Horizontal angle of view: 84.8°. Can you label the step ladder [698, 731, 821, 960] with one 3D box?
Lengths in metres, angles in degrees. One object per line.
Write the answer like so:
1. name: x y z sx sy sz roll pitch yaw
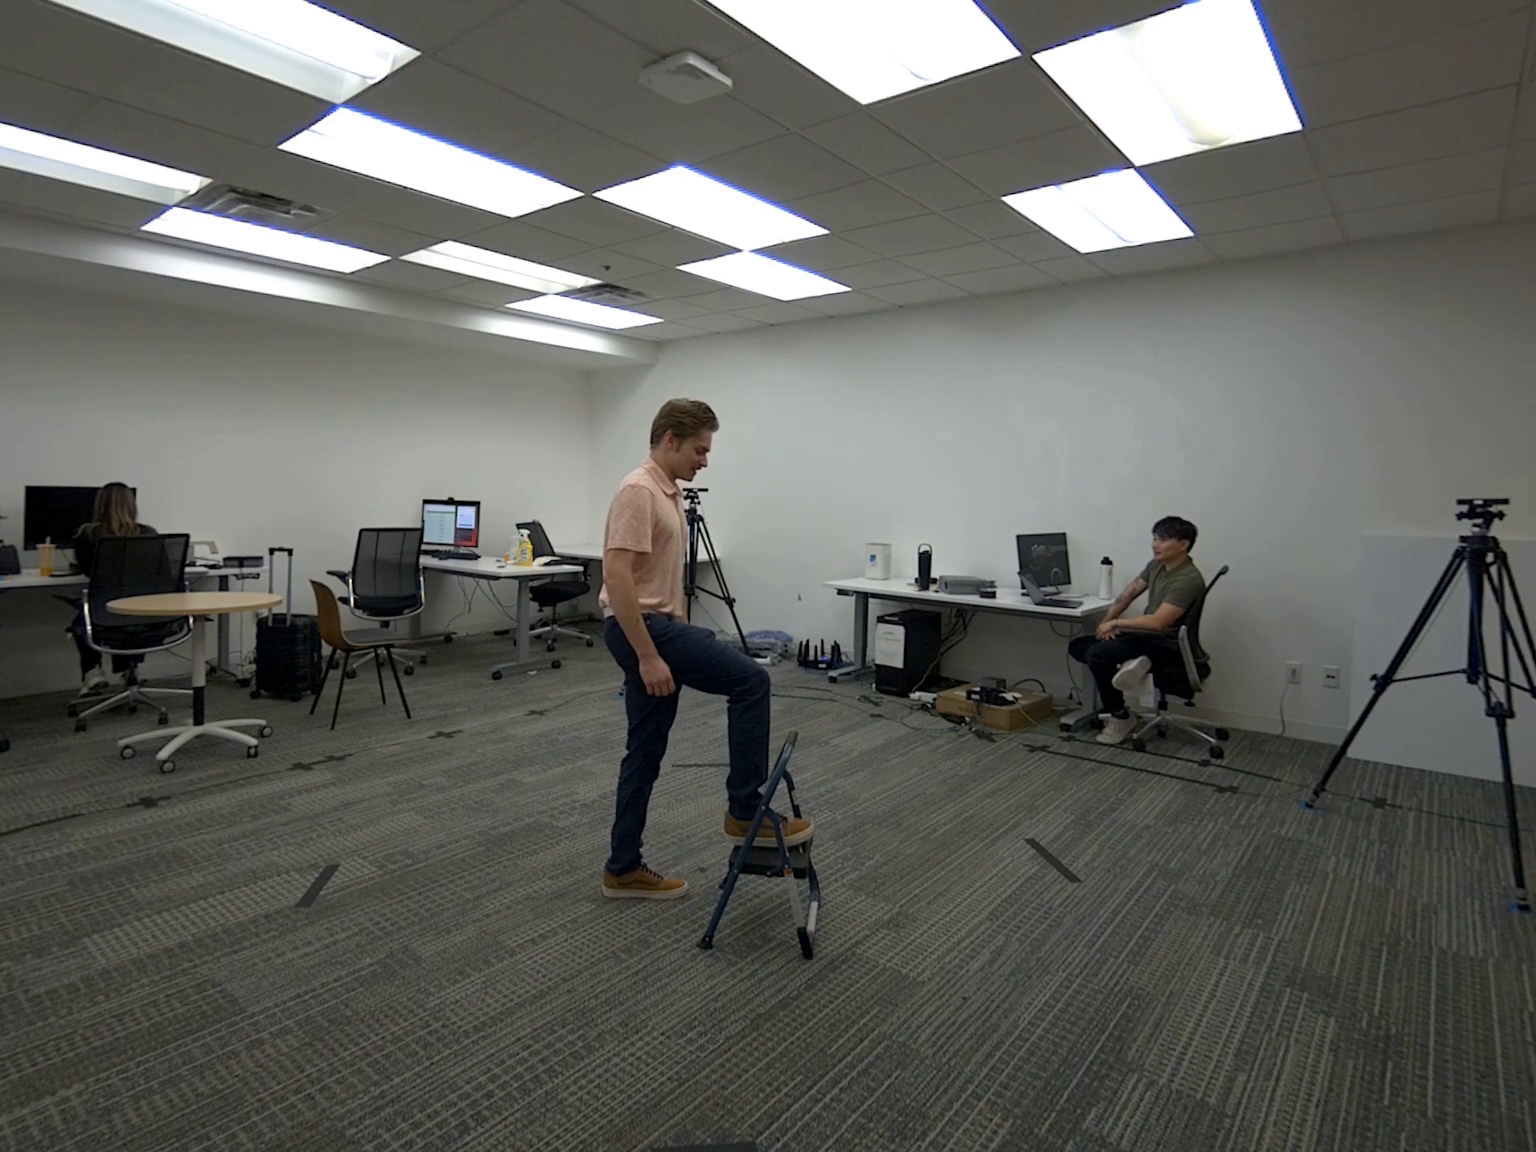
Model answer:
1. step ladder: -0.012 0.809 2.728 0.353 0.604 0.428 2 4 7
